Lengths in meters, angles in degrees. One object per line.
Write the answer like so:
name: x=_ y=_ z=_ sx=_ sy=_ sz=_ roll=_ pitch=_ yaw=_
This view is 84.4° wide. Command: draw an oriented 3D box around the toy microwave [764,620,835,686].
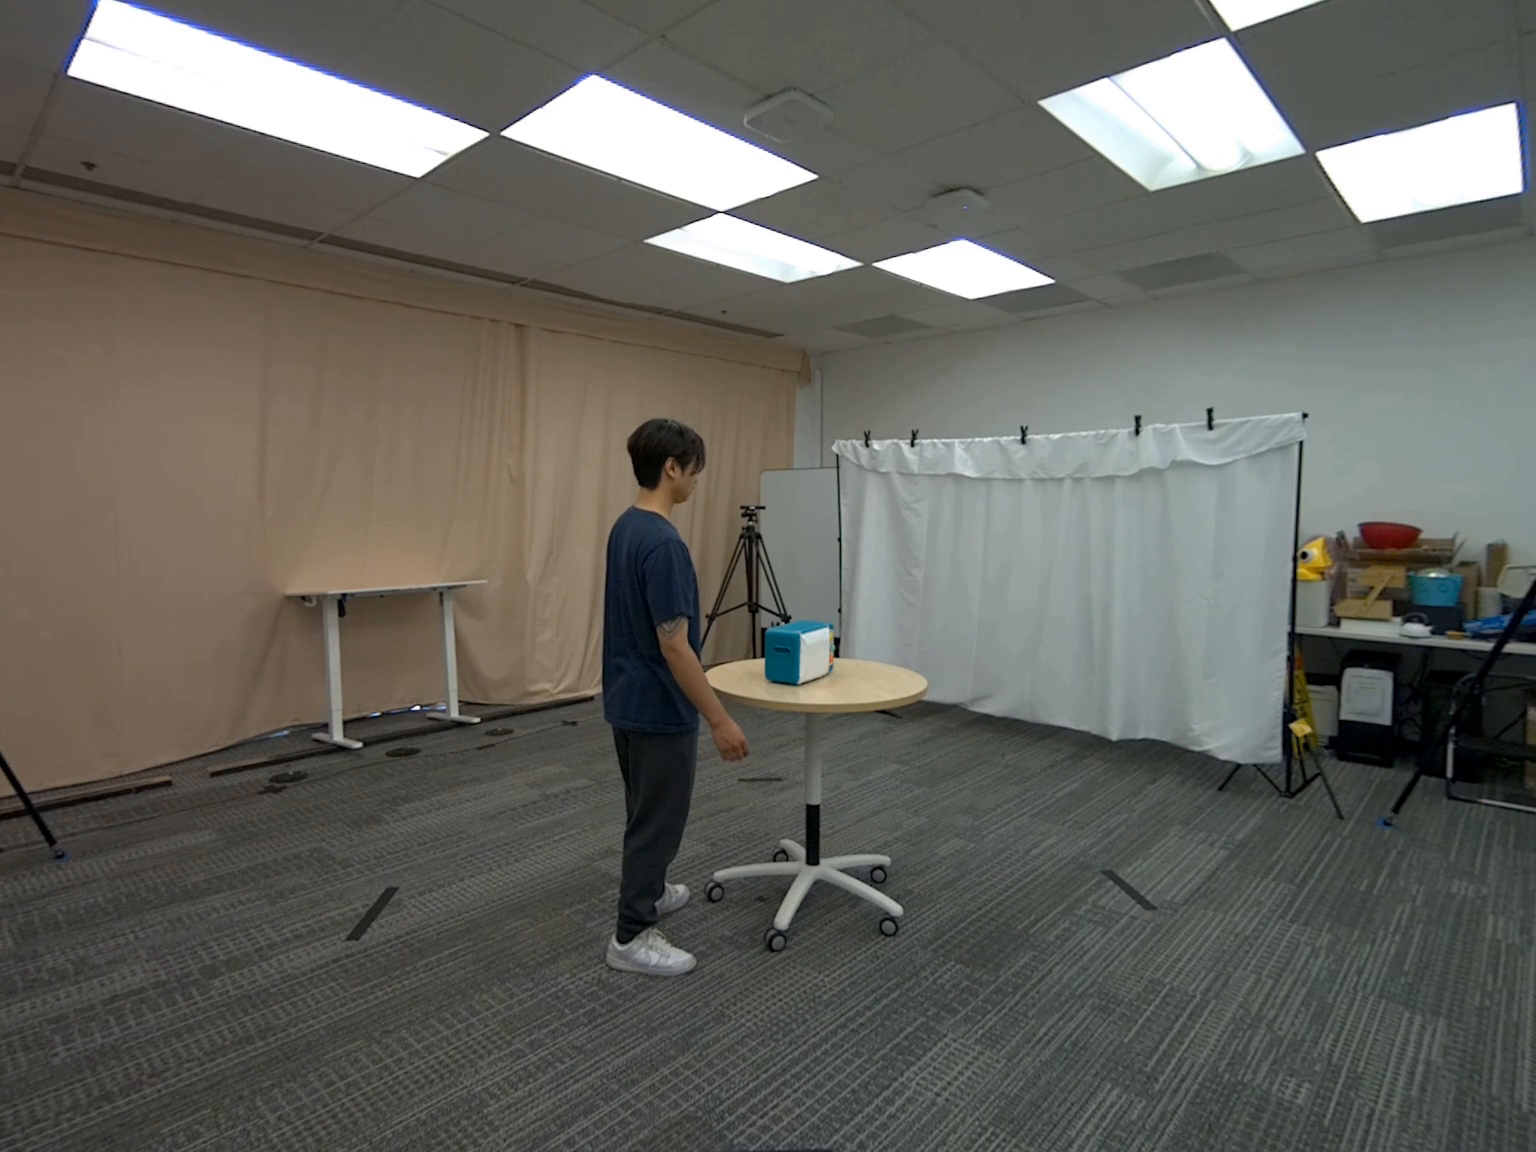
toy microwave: x=0.126 y=0.262 z=2.895 sx=0.157 sy=0.183 sz=0.279 roll=3 pitch=6 yaw=29
